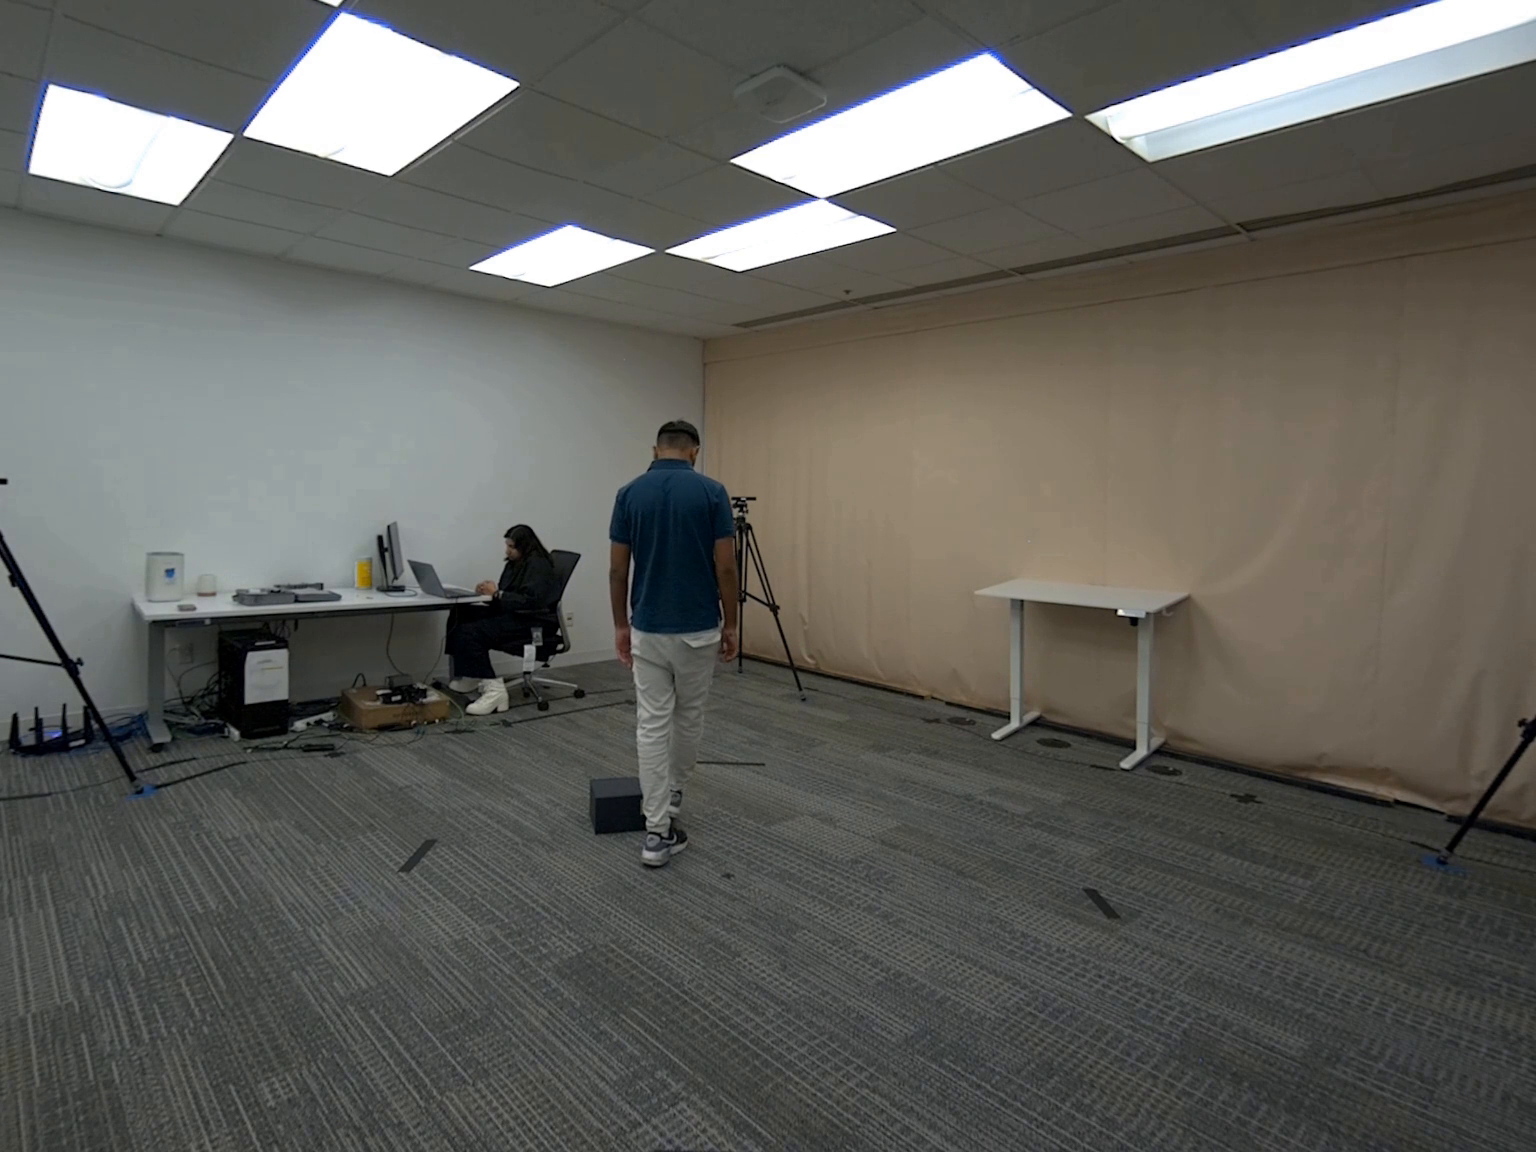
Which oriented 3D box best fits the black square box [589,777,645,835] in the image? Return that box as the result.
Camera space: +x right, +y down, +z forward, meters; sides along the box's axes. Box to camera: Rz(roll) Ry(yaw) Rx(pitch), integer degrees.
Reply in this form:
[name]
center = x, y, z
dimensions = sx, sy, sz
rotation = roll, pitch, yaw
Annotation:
[black square box]
center = -0.644, 0.967, 3.581
dimensions = 0.214, 0.155, 0.231
rotation = 0, 5, -18
